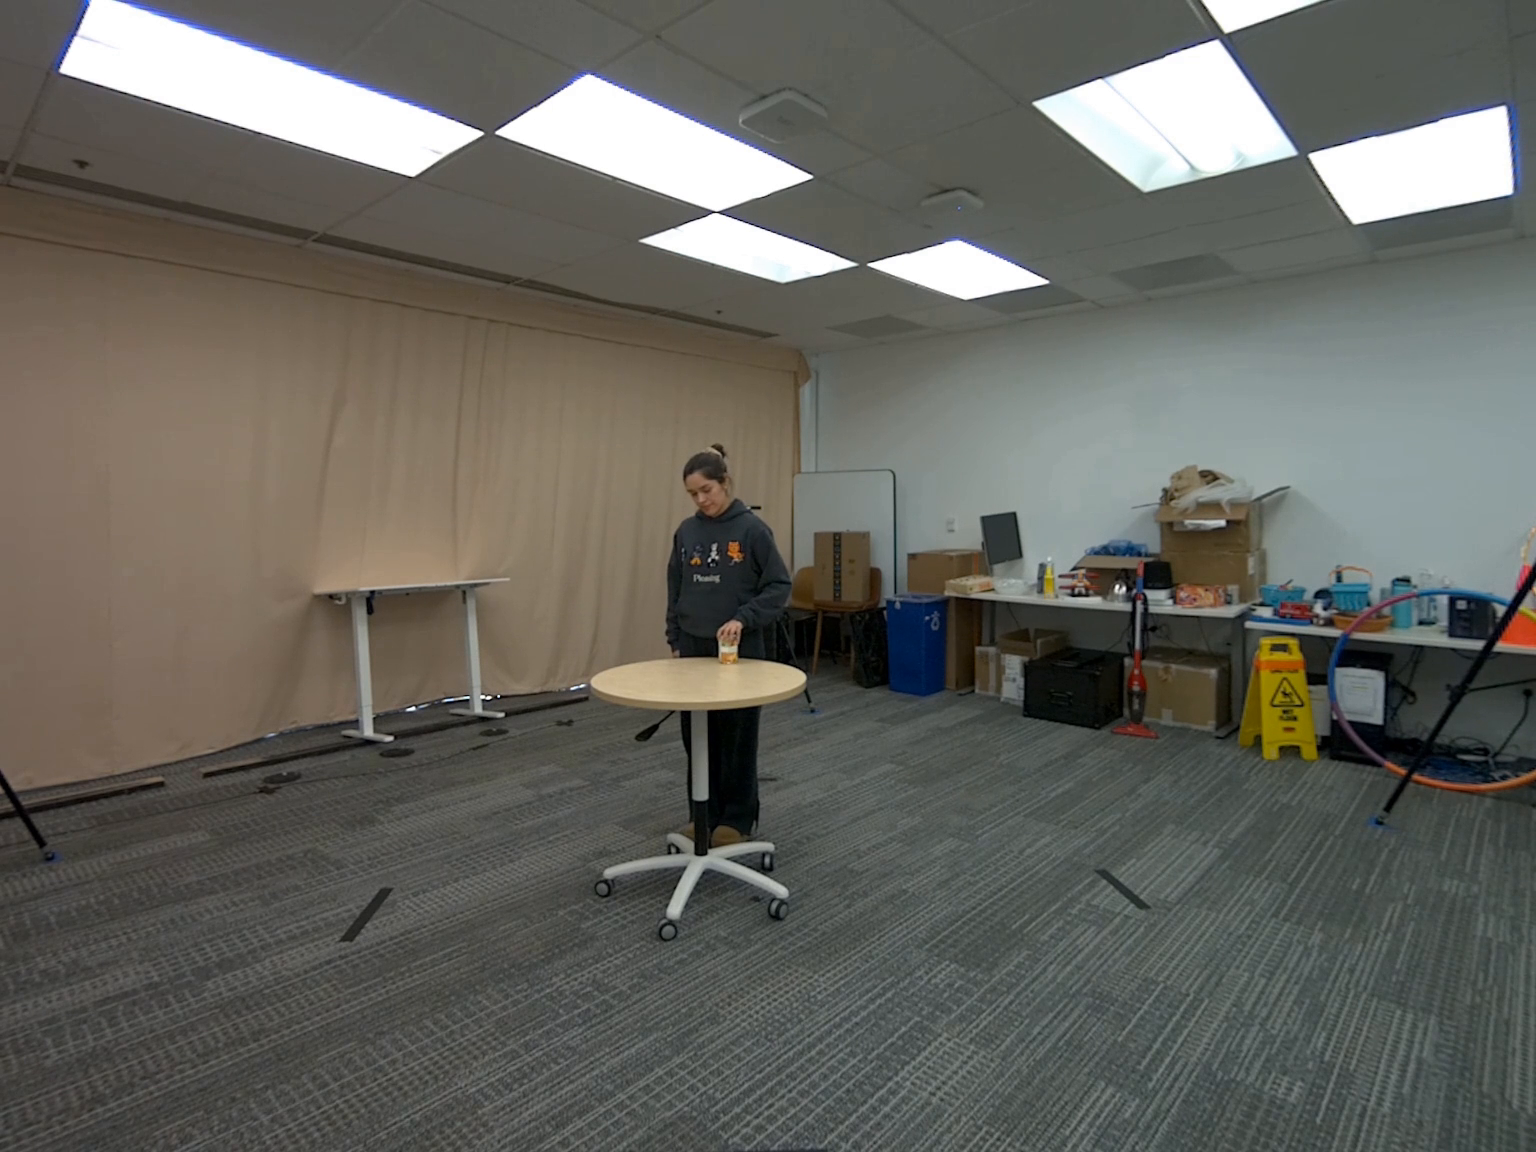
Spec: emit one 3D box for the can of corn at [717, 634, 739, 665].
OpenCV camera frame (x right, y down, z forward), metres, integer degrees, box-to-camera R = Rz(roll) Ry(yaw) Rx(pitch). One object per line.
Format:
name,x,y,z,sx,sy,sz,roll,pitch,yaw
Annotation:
can of corn,-0.145,0.274,3.268,0.074,0.111,0.074,0,1,-2
